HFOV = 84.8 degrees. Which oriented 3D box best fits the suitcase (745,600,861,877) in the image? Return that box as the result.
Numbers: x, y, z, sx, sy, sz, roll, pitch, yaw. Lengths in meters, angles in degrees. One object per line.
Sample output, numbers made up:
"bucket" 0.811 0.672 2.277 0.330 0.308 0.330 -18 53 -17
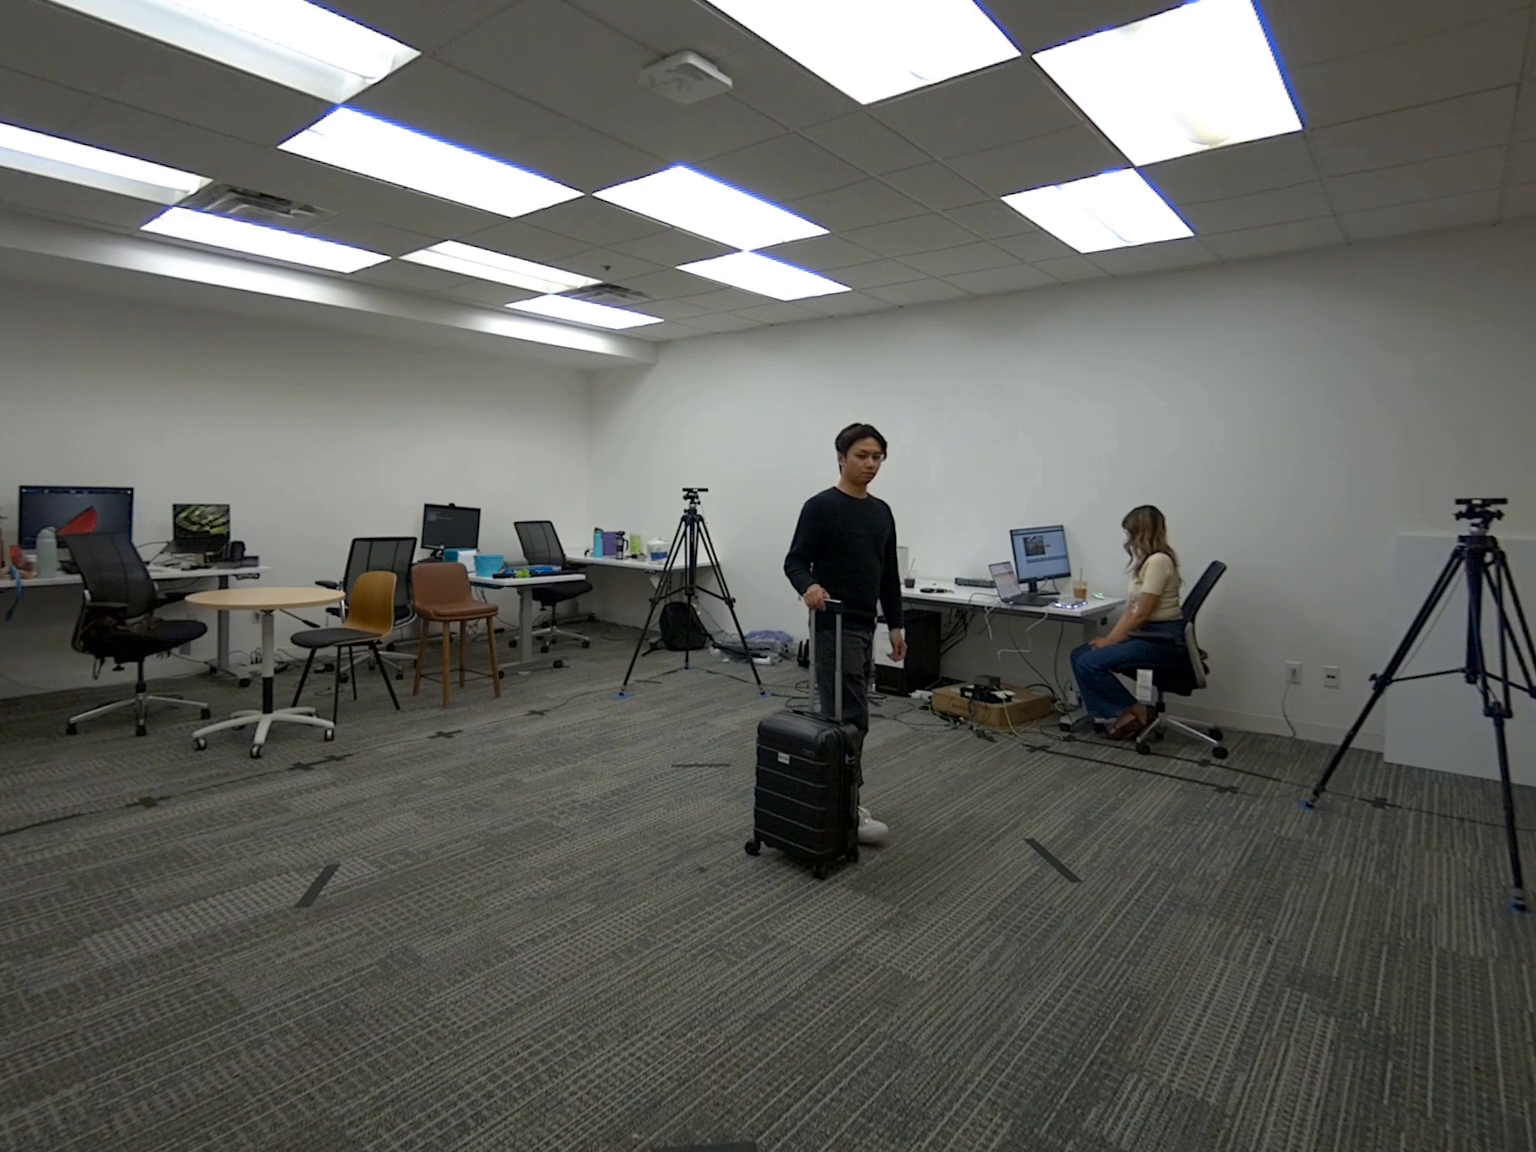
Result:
"suitcase" 0.138 0.594 3.184 0.397 0.973 0.249 7 8 43
